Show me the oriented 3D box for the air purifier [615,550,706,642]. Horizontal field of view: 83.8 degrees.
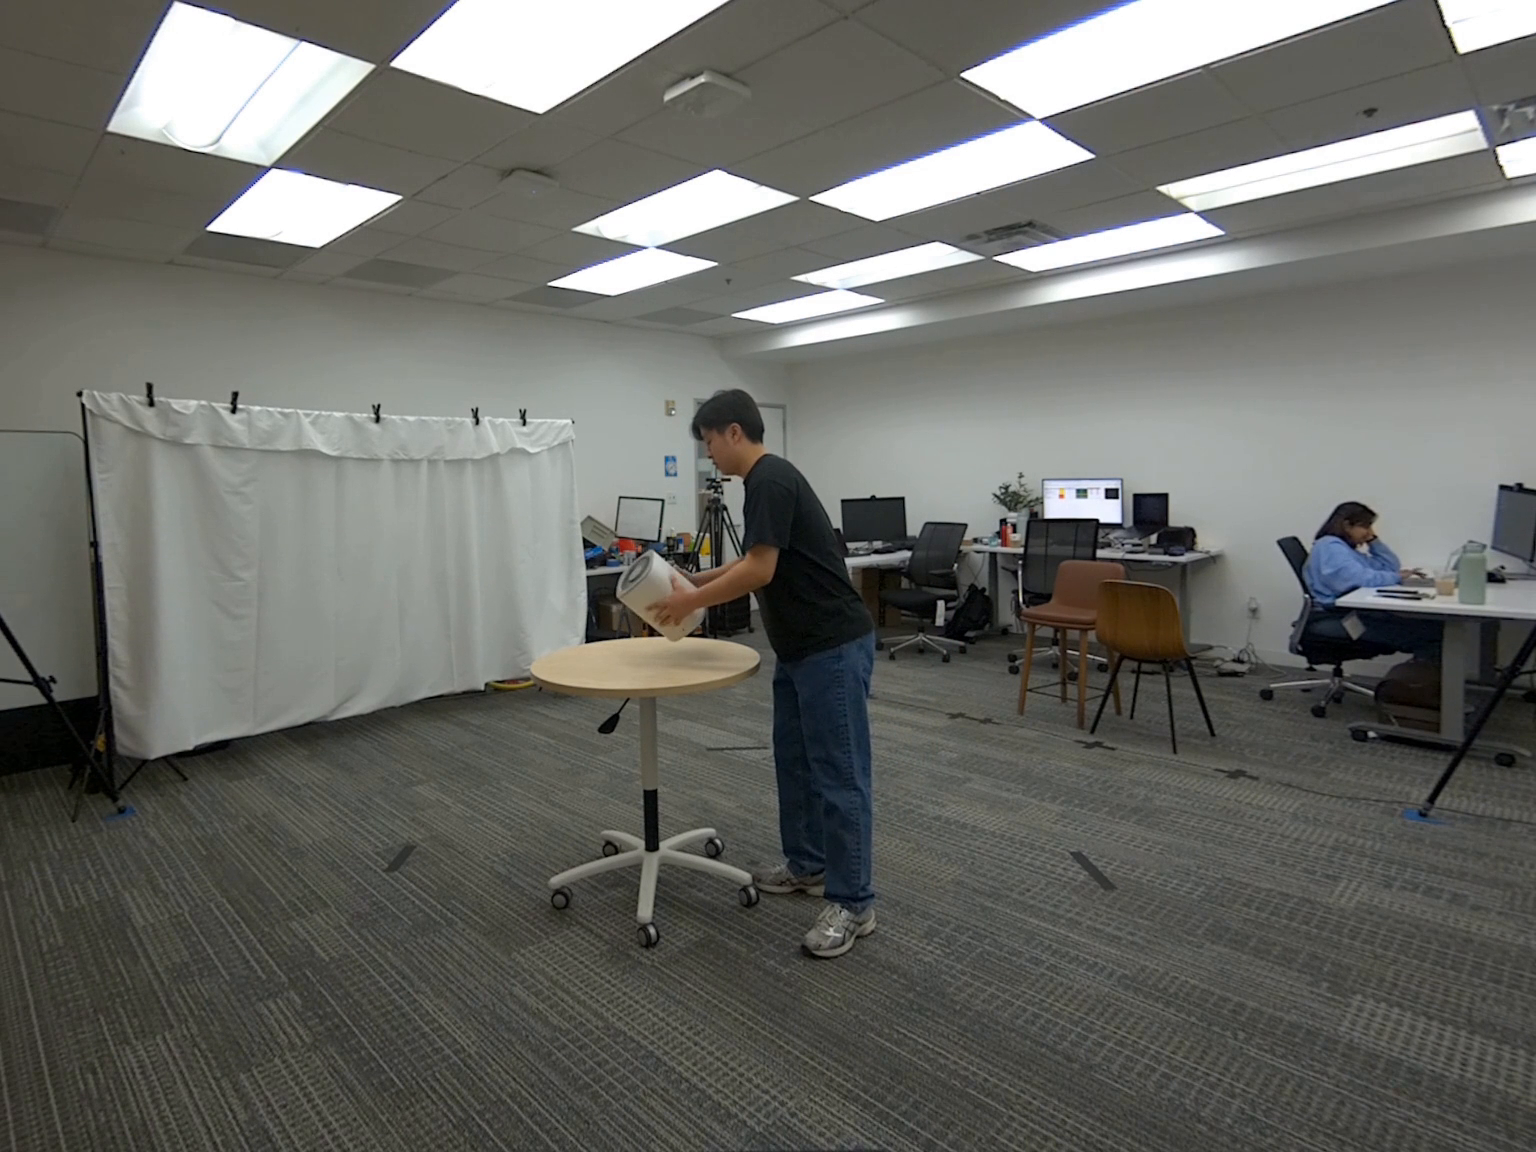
[{"bbox_3d":[-0.343,0.069,2.847,0.171,0.258,0.176,-39,25,19],"label":"air purifier"}]
